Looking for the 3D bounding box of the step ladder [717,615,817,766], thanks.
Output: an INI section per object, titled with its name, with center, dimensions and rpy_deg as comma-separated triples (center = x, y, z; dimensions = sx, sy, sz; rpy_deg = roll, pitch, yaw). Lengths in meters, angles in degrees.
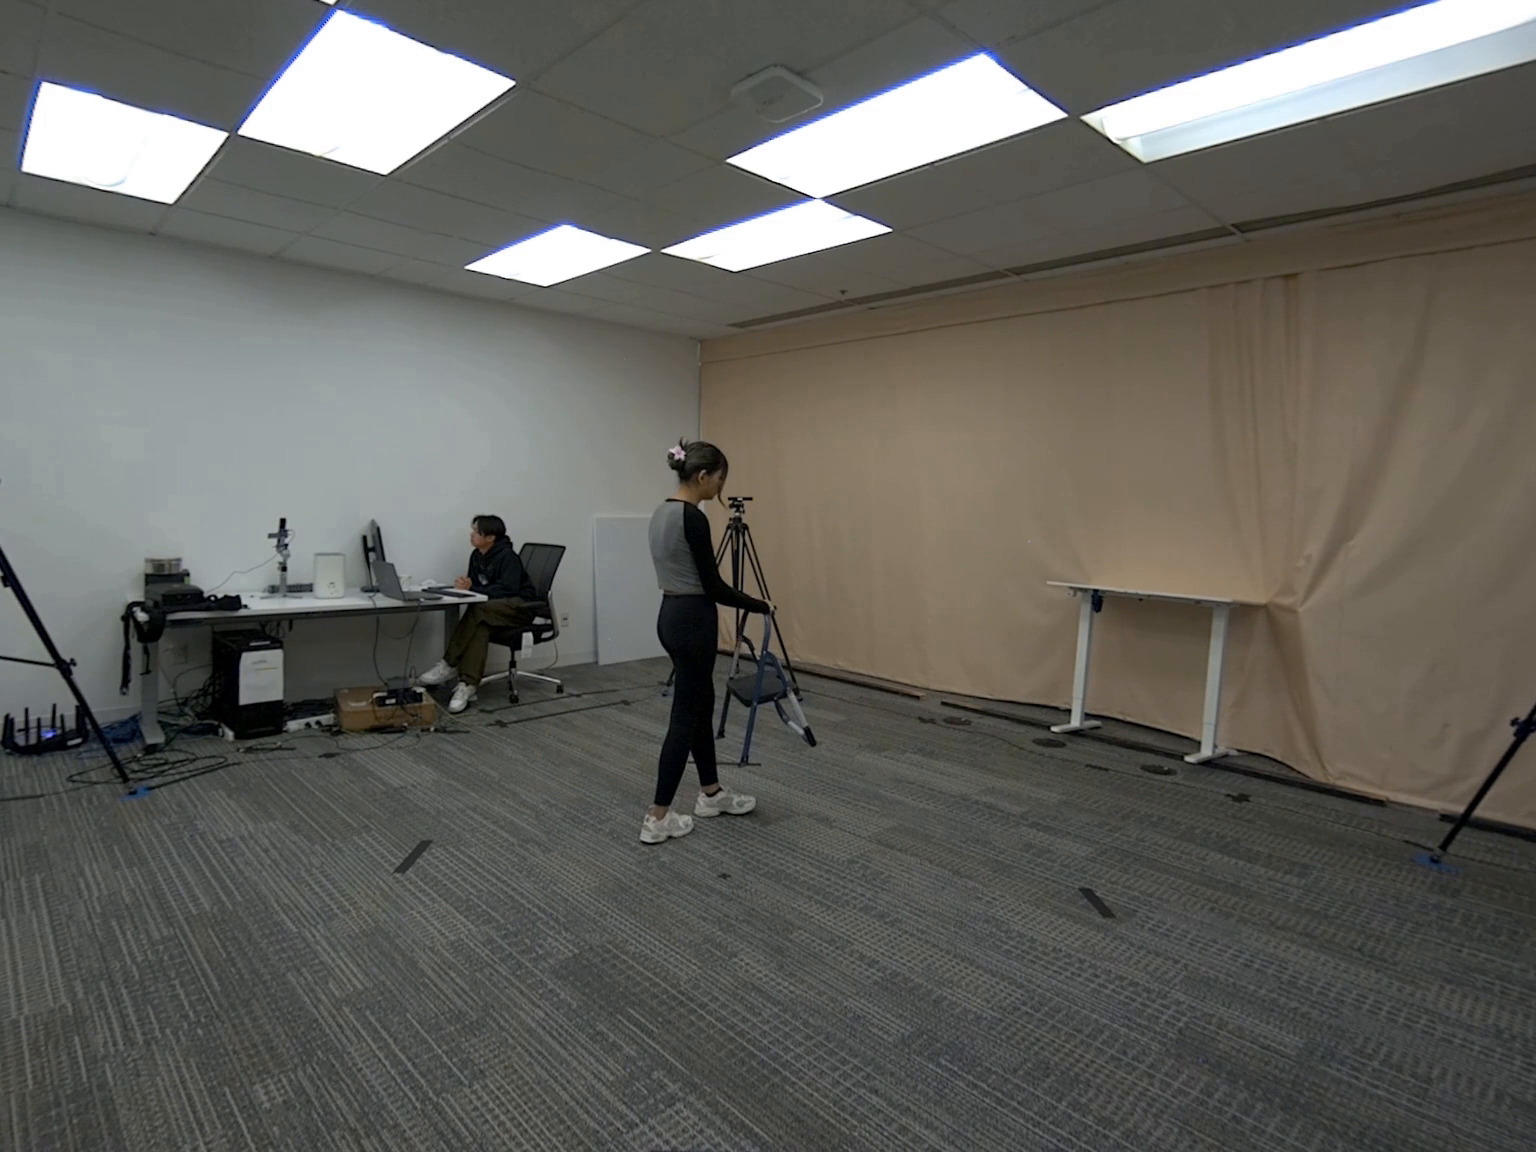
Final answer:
[step ladder]
center = -0.068, 0.433, 3.661
dimensions = 0.346, 0.602, 0.437
rpy_deg = -12, 8, -16
